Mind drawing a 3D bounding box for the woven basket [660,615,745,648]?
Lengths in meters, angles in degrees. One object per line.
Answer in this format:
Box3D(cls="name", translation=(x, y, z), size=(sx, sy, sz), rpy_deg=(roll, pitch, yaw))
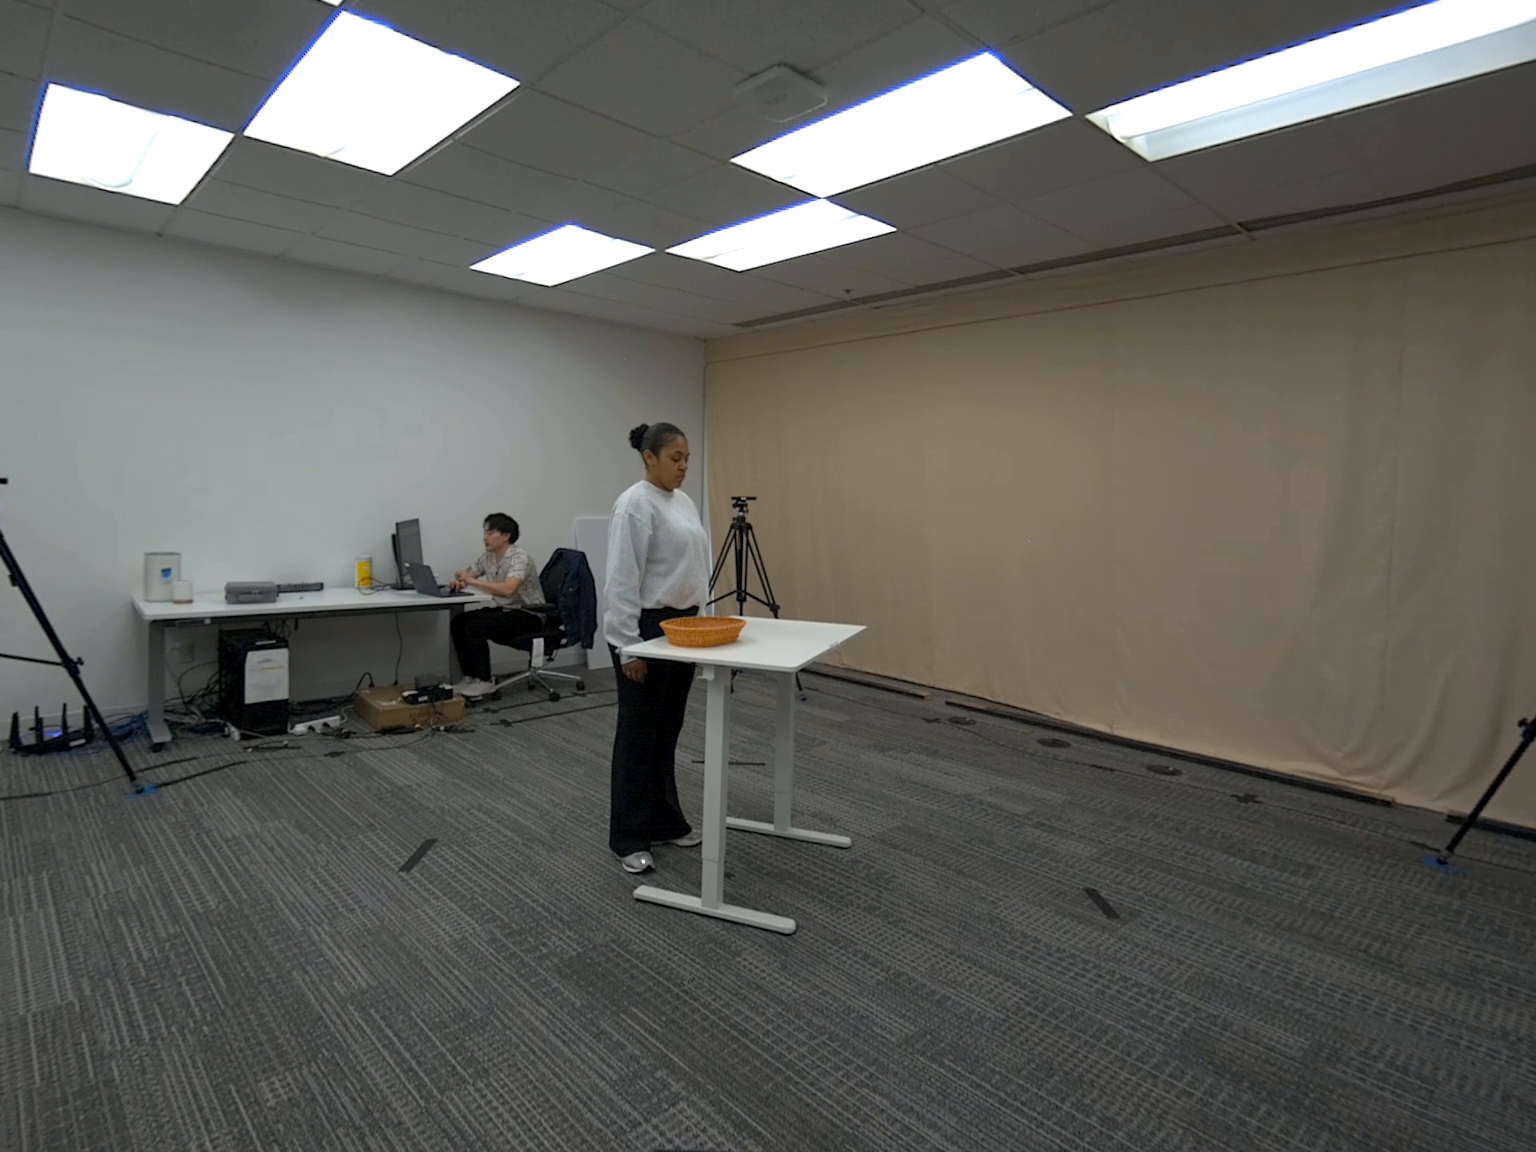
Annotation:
Box3D(cls="woven basket", translation=(-0.245, 0.204, 2.965), size=(0.258, 0.073, 0.343), rpy_deg=(6, 6, 33))
